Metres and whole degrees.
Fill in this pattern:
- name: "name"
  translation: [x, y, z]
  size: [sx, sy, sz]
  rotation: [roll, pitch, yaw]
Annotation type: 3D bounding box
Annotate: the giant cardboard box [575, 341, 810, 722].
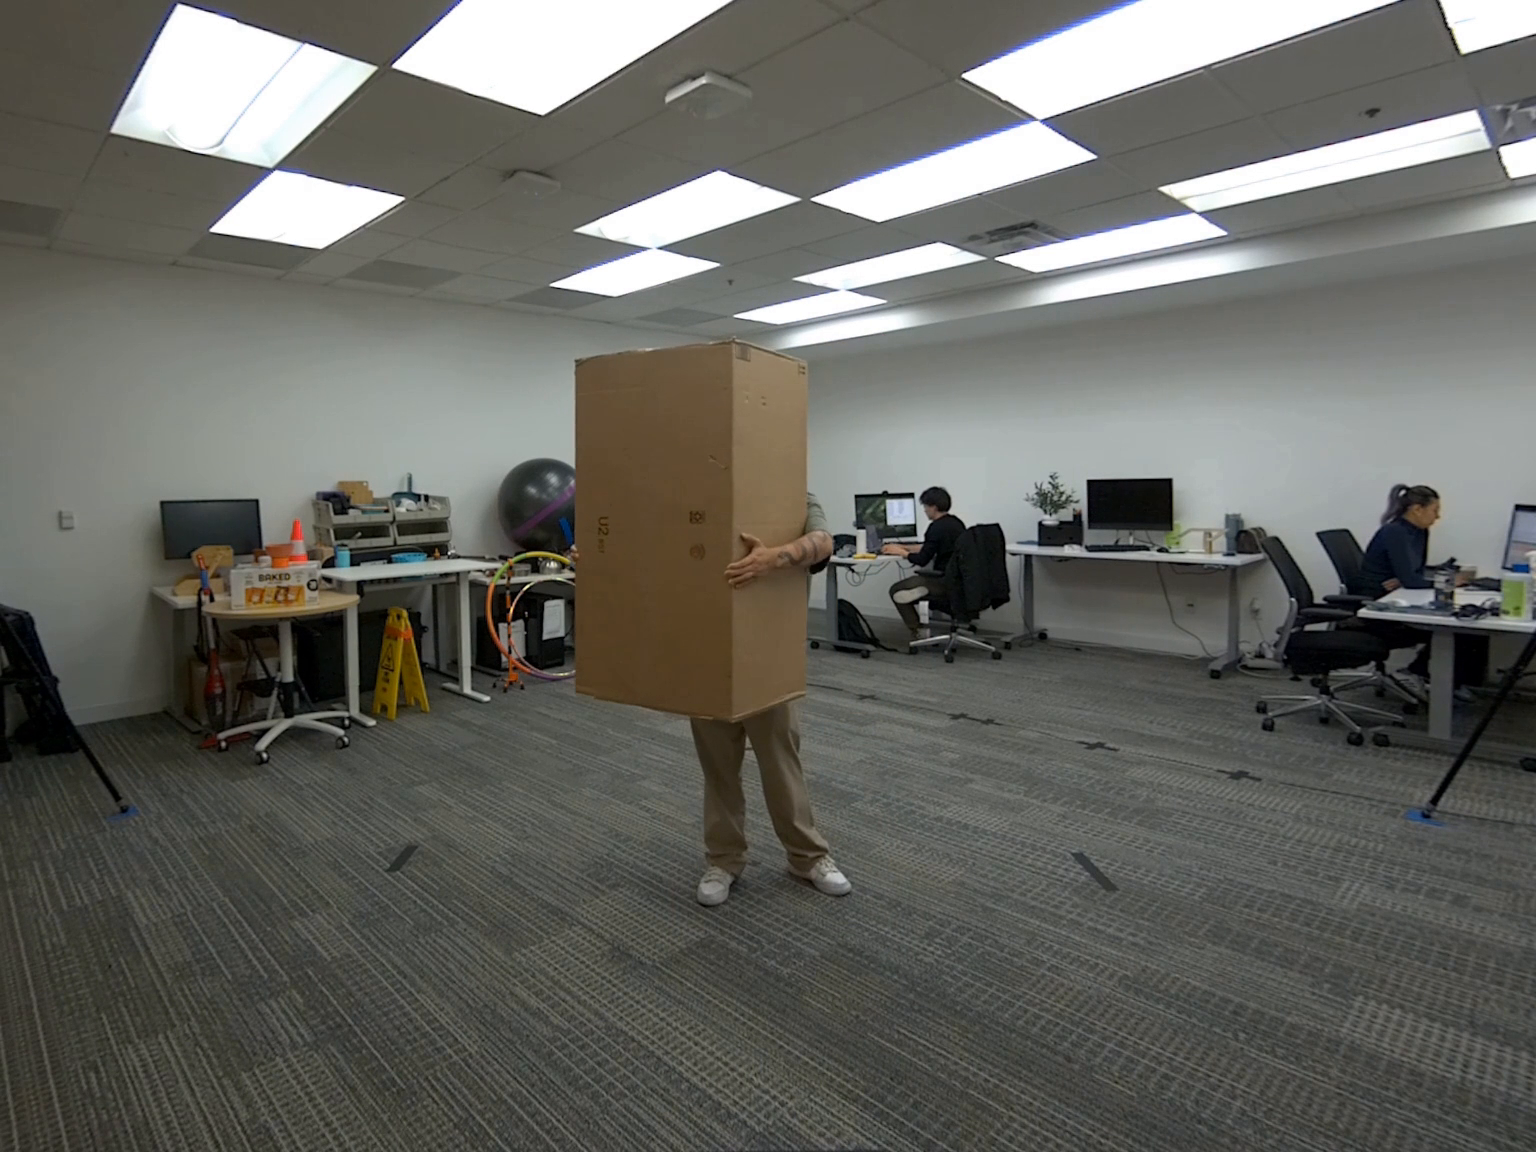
- name: "giant cardboard box"
  translation: [-0.231, -0.147, 2.597]
  size: [0.593, 1.025, 0.415]
  rotation: [1, 2, 33]
